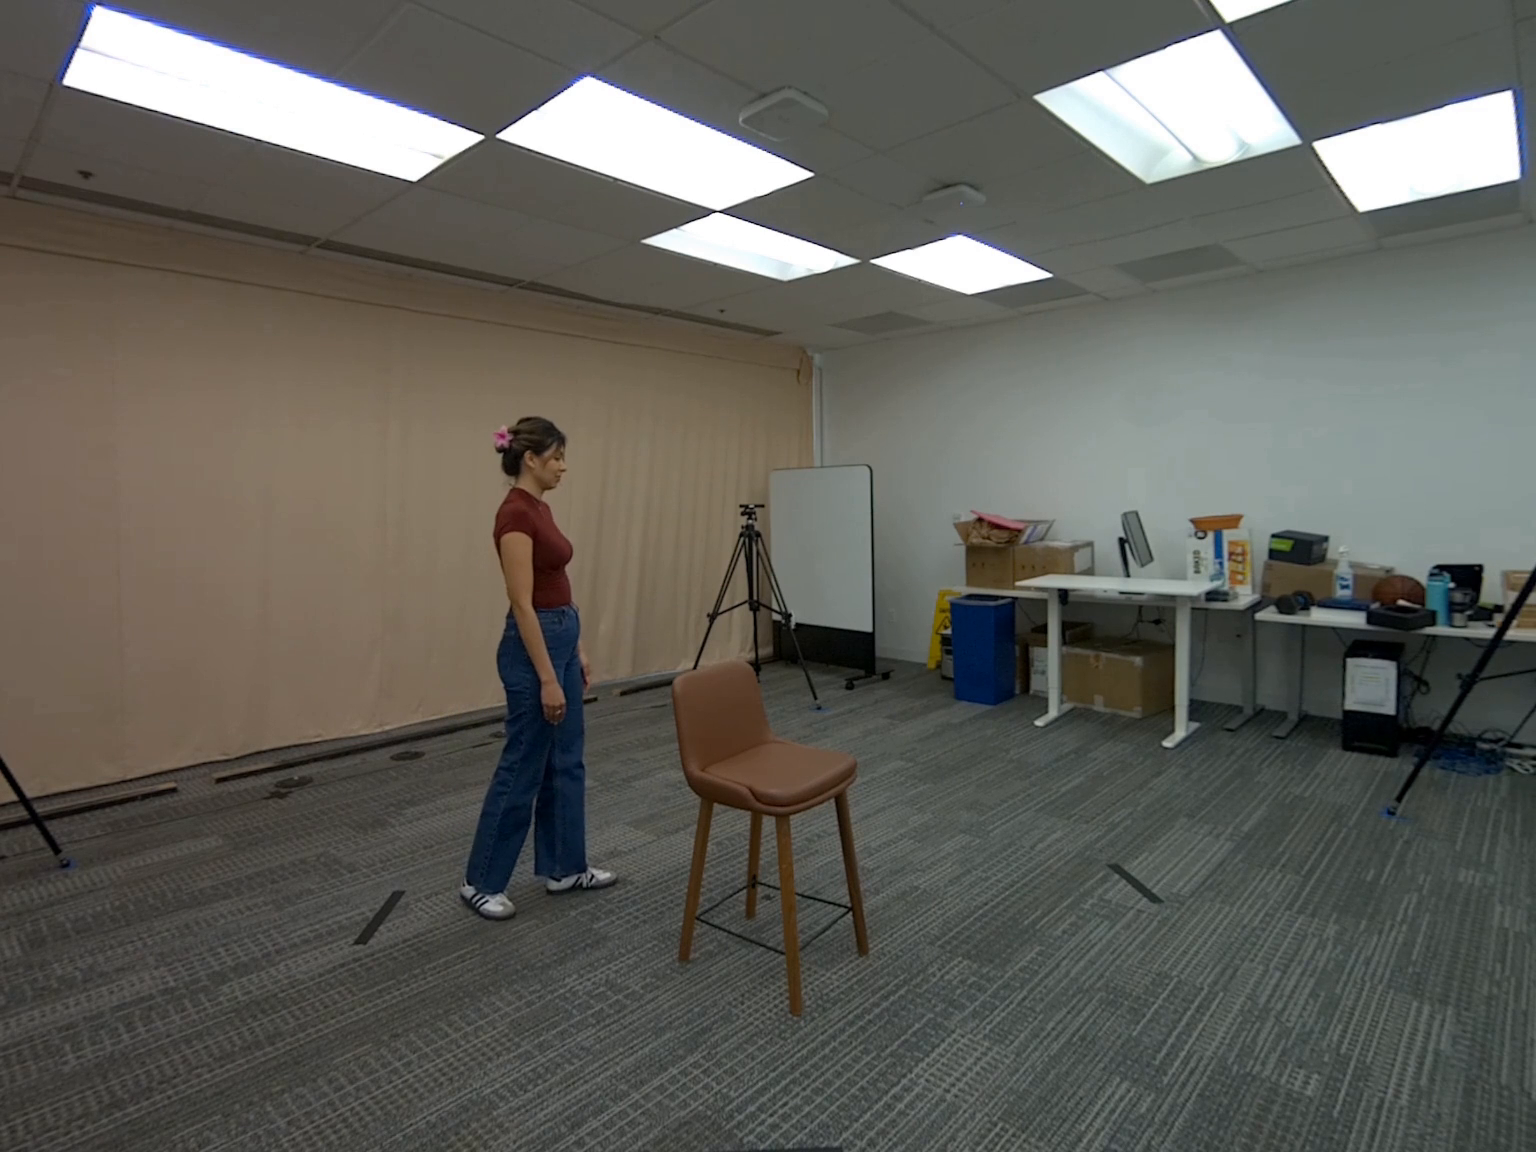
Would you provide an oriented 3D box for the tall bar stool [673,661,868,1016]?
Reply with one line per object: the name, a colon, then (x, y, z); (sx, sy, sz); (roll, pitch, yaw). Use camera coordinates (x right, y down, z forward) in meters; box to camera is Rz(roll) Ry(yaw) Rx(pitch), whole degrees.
tall bar stool: (0.004, 0.742, 2.561); (0.482, 0.888, 0.443); (0, 3, 37)
